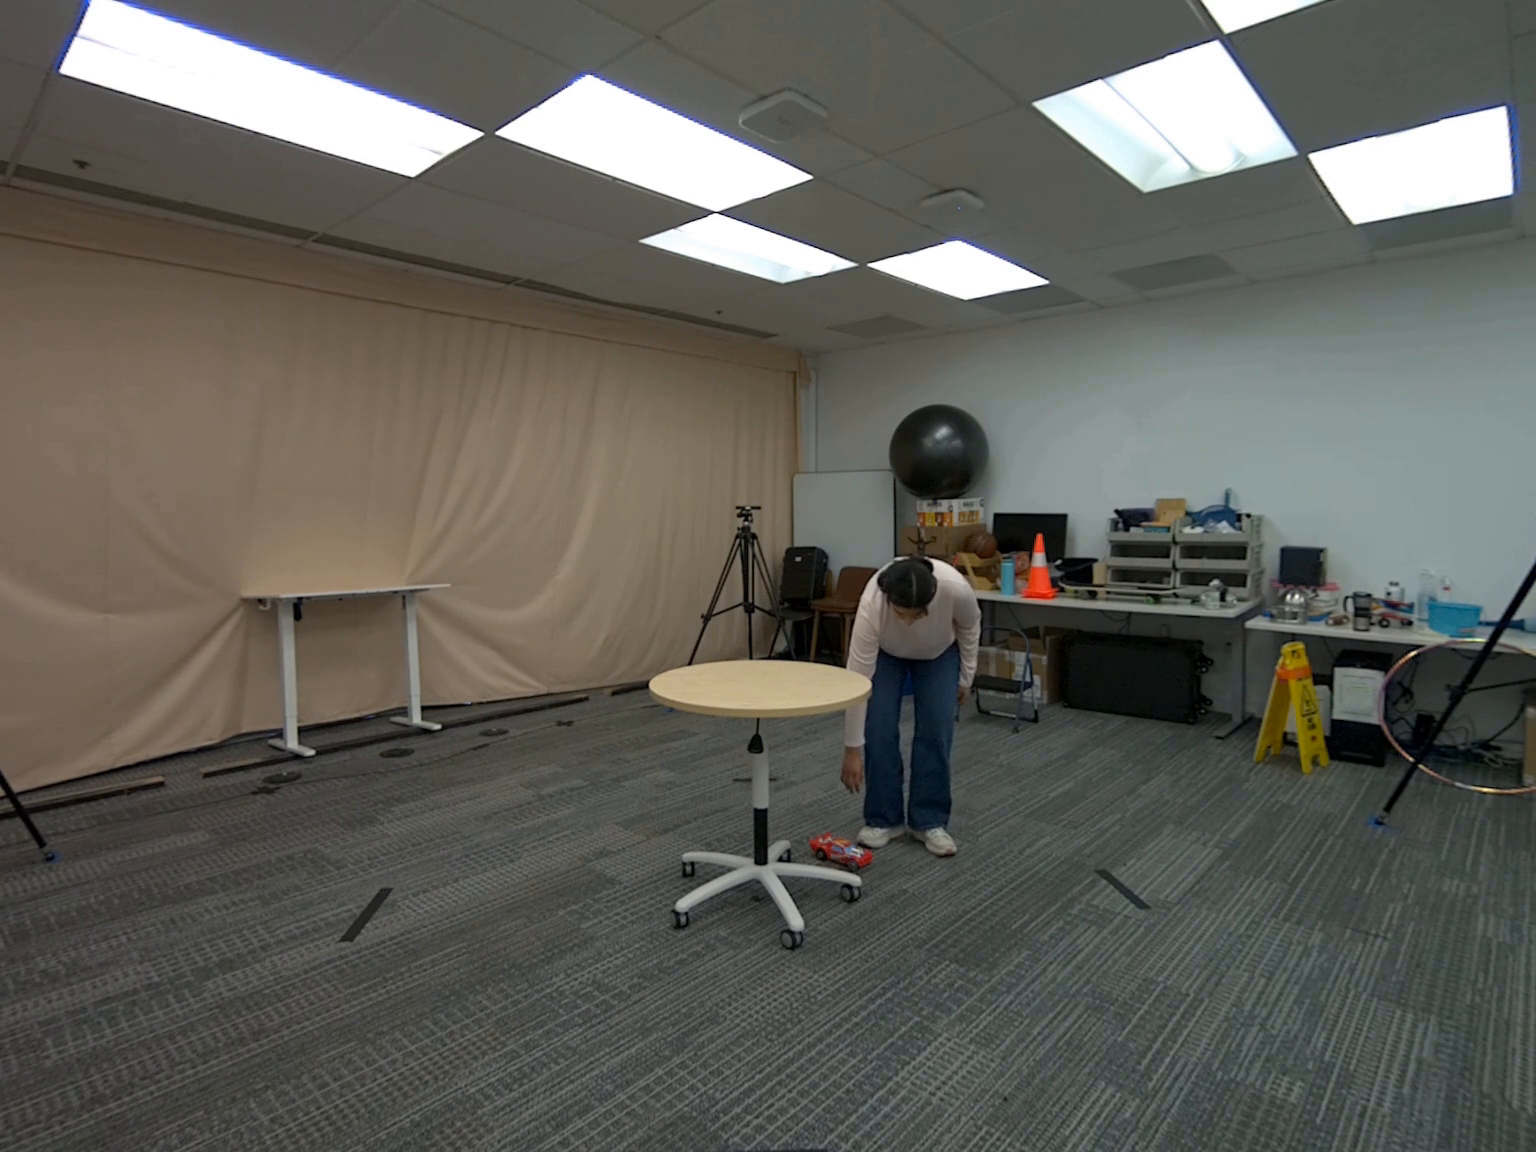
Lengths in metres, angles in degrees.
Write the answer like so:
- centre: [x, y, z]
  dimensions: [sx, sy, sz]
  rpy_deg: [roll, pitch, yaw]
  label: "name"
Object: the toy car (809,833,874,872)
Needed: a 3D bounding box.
- centre: [0.285, 1.082, 3.314]
  dimensions: [0.264, 0.083, 0.126]
  rpy_deg: [17, 14, 38]
  label: "toy car"
